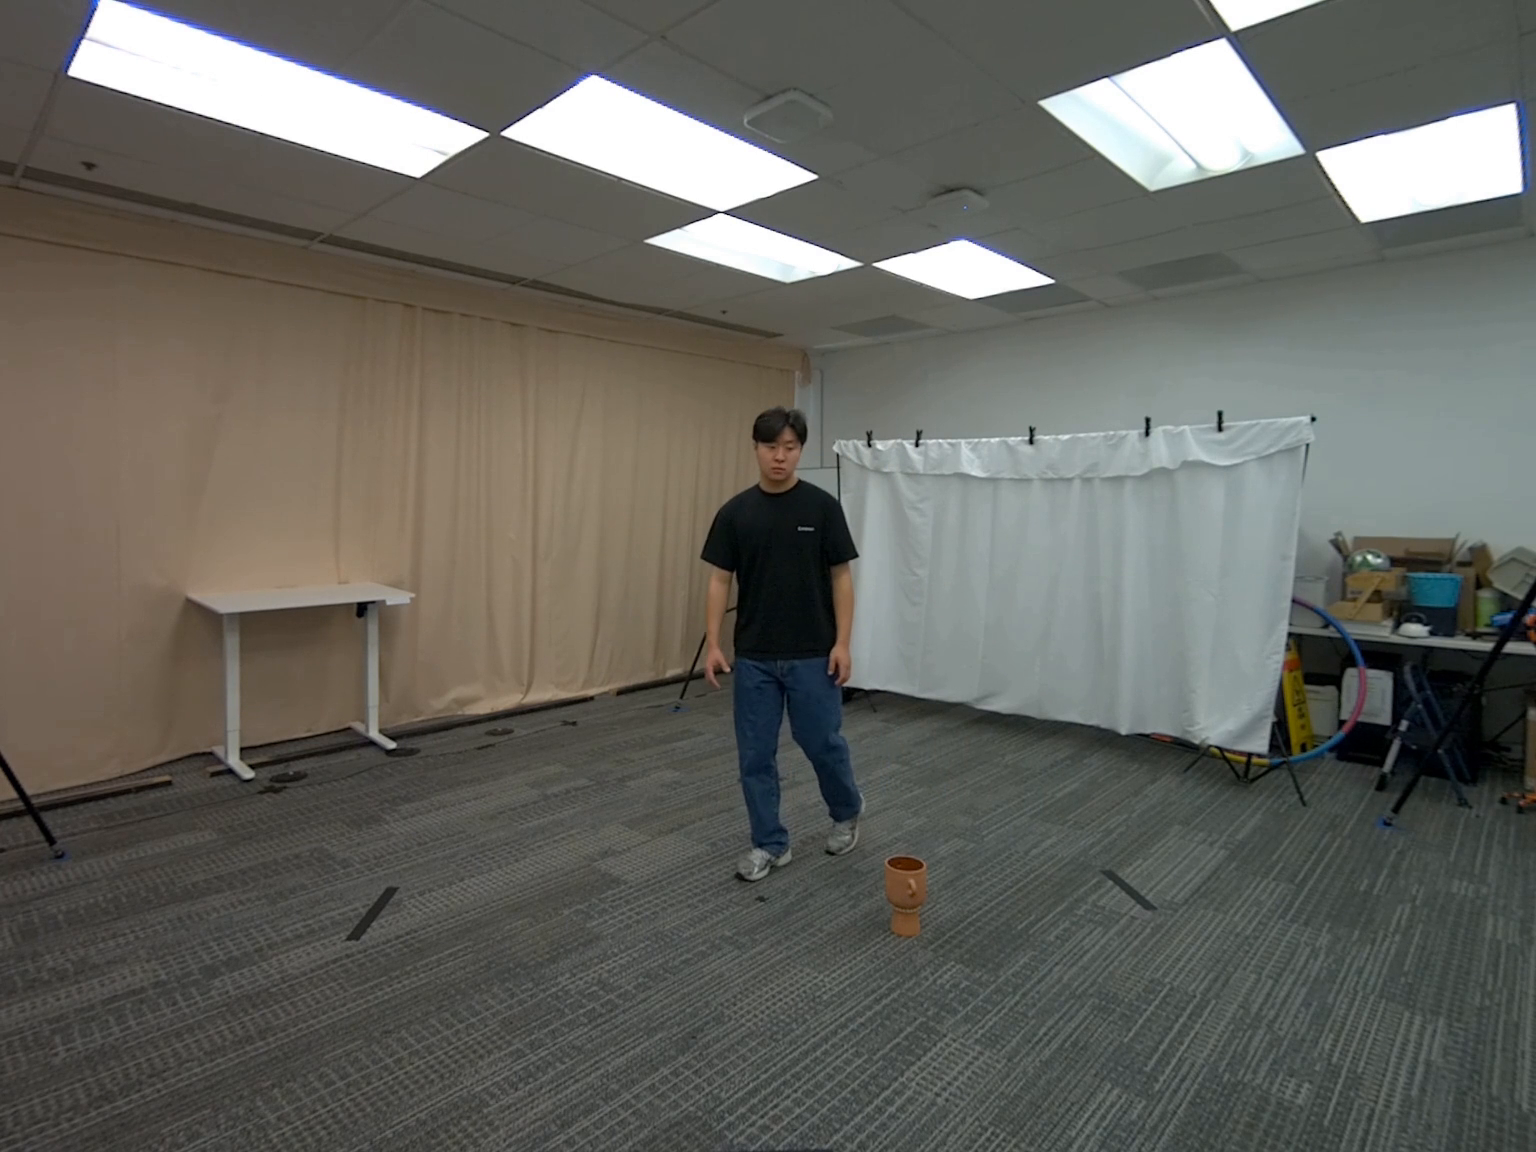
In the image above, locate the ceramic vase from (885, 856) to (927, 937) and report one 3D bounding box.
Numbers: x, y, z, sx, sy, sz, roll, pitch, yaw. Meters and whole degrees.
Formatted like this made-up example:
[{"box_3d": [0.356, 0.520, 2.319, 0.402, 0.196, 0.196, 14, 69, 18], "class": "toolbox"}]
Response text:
[{"box_3d": [0.452, 1.045, 2.759, 0.139, 0.219, 0.154, 1, 4, 32], "class": "ceramic vase"}]
